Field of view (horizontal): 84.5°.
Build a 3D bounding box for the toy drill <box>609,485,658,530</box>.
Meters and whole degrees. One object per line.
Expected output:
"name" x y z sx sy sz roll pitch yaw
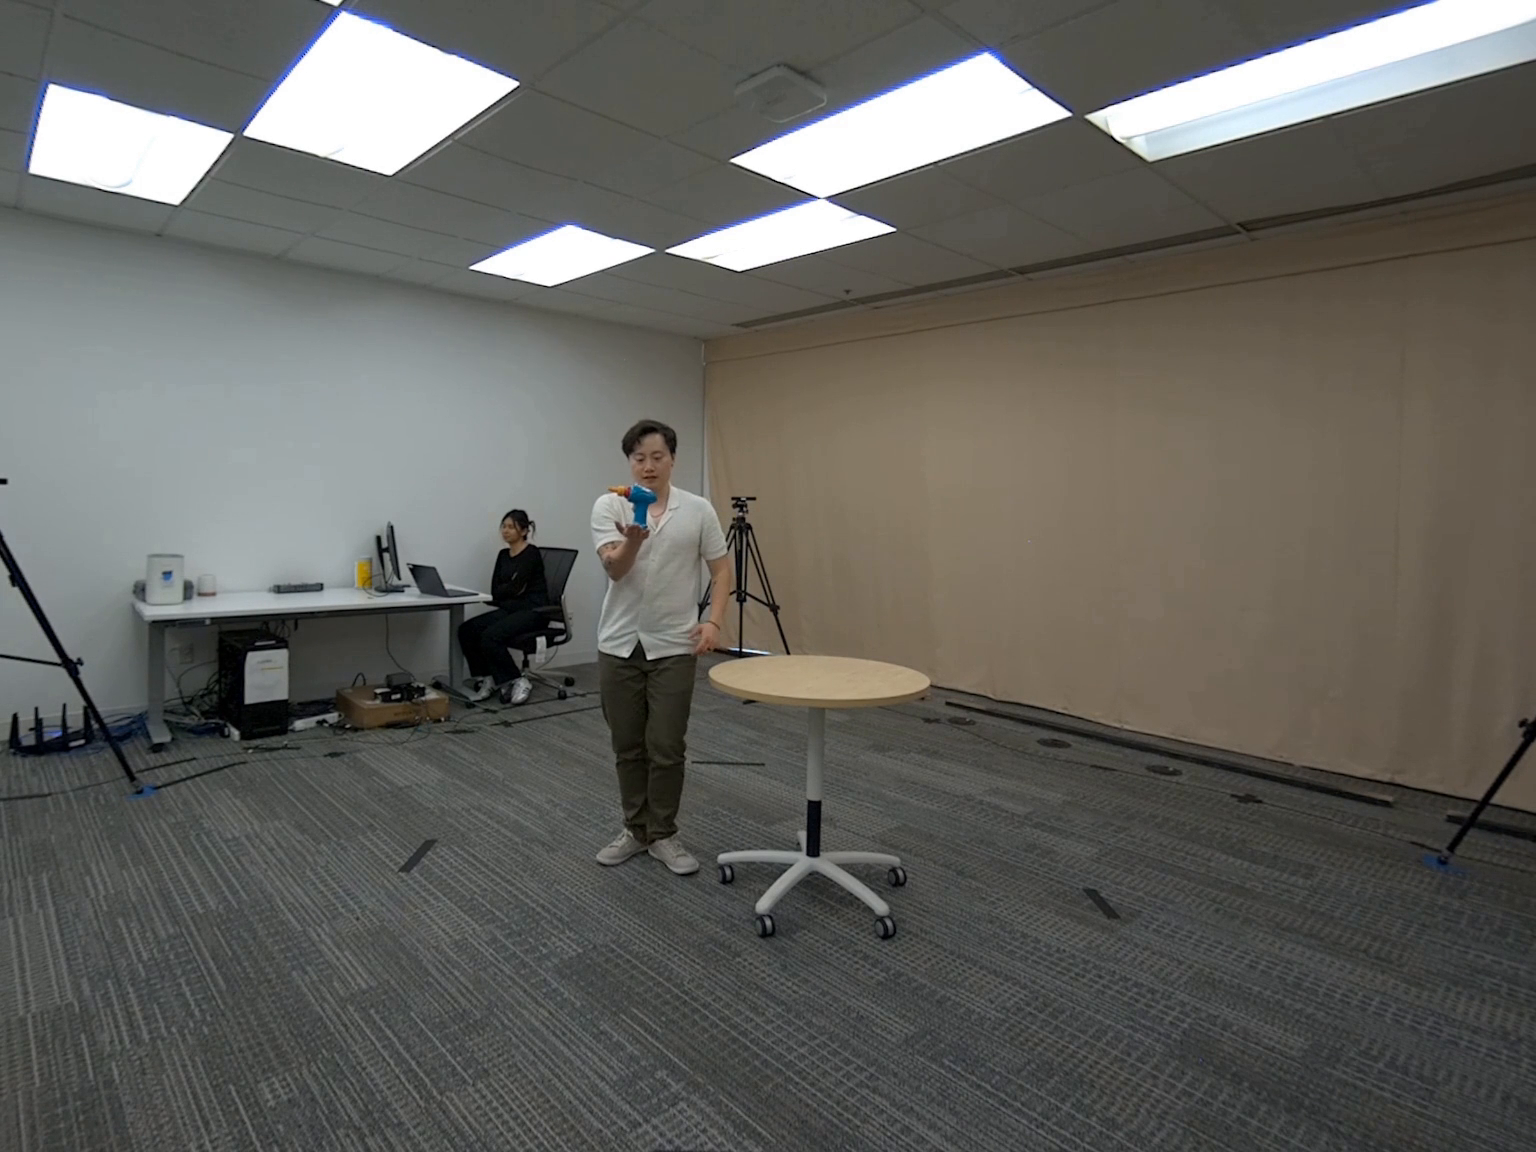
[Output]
"toy drill" -0.466 -0.233 2.768 0.167 0.146 0.062 12 0 -15
